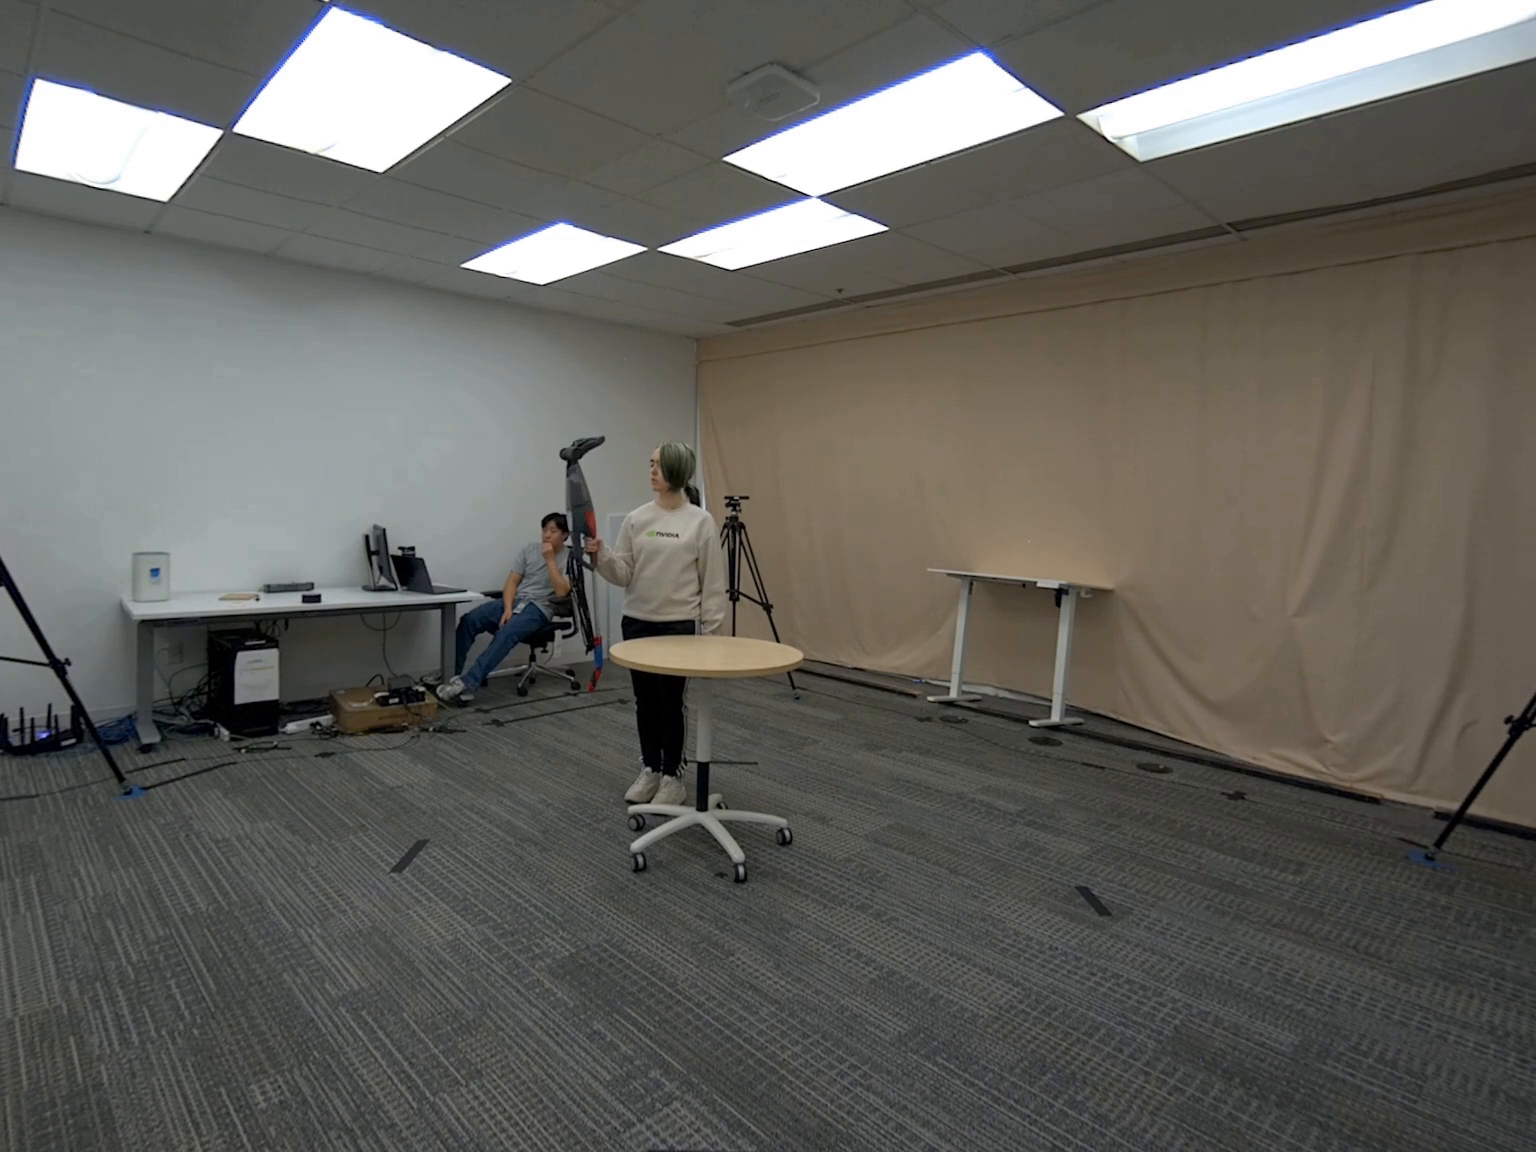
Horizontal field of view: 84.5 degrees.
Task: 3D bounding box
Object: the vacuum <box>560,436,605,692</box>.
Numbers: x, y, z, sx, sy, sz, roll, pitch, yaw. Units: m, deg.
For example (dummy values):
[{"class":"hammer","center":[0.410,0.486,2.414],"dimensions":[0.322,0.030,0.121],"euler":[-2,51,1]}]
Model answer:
[{"class":"vacuum","center":[-0.792,-0.036,3.578],"dimensions":[0.141,1.047,0.258],"euler":[-4,4,-30]}]
